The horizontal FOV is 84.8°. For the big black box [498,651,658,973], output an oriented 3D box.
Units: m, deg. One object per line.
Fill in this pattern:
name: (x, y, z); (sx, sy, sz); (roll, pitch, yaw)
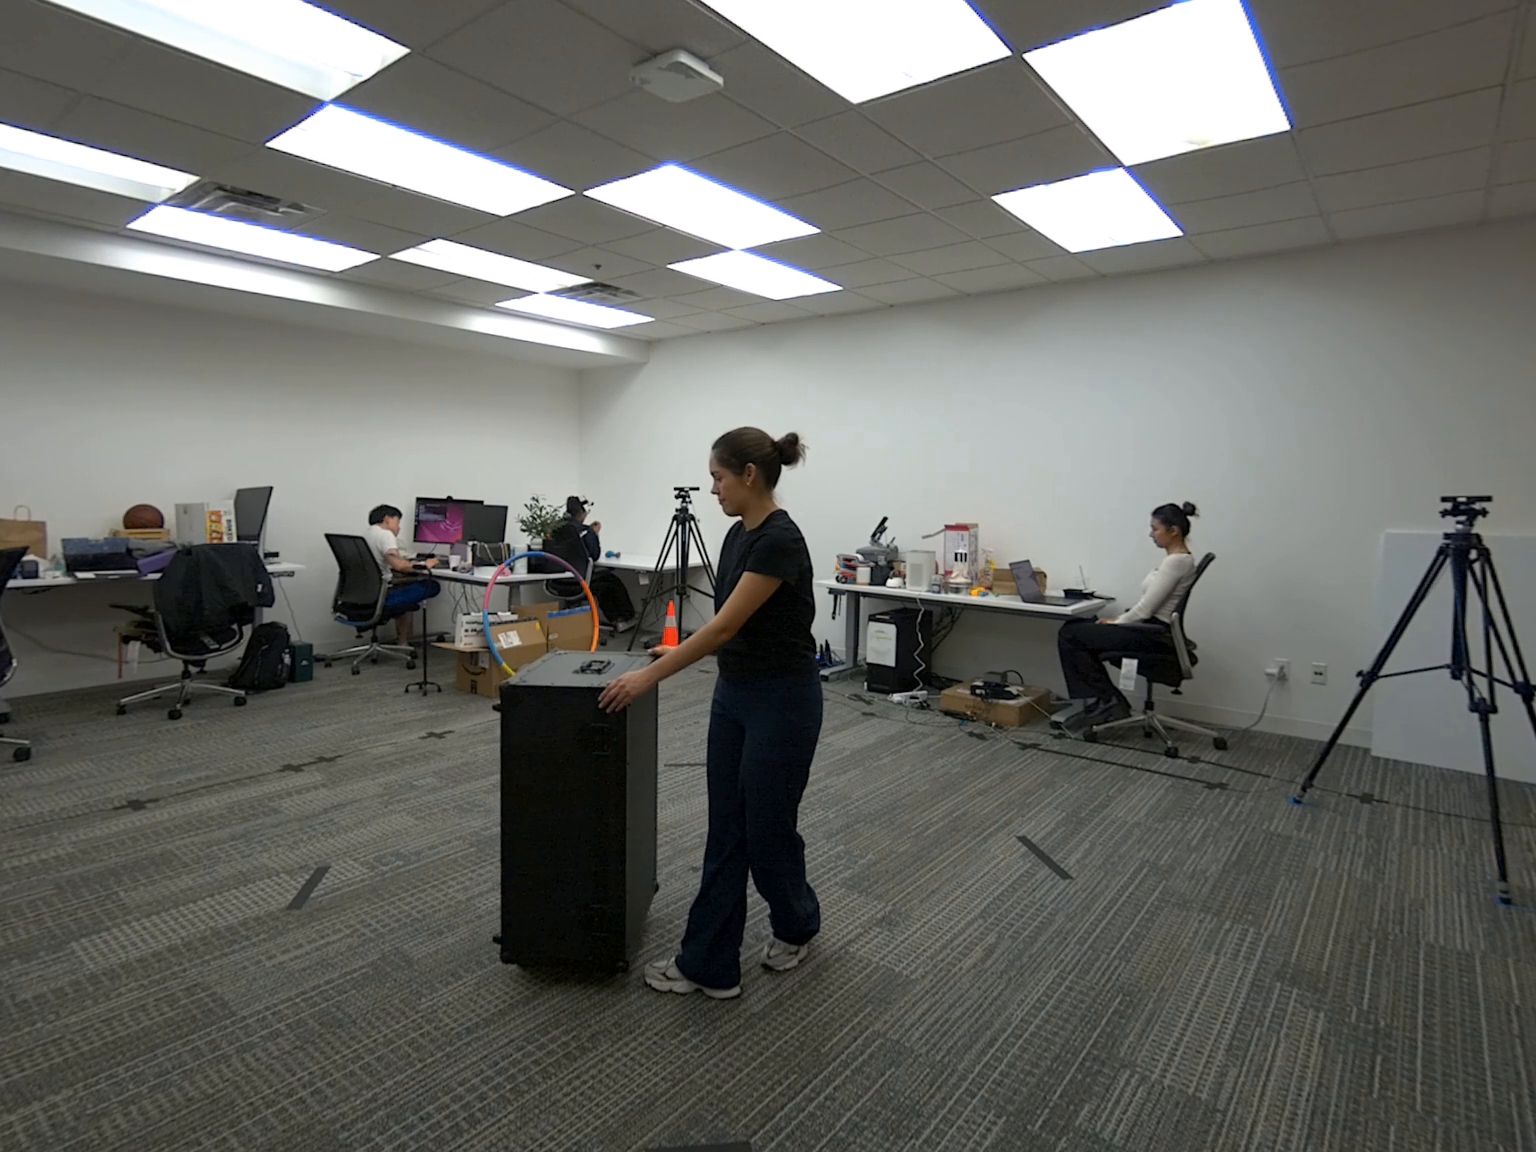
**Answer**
big black box: (-0.554, 0.691, 2.561); (0.399, 0.859, 0.519); (0, 4, 6)
